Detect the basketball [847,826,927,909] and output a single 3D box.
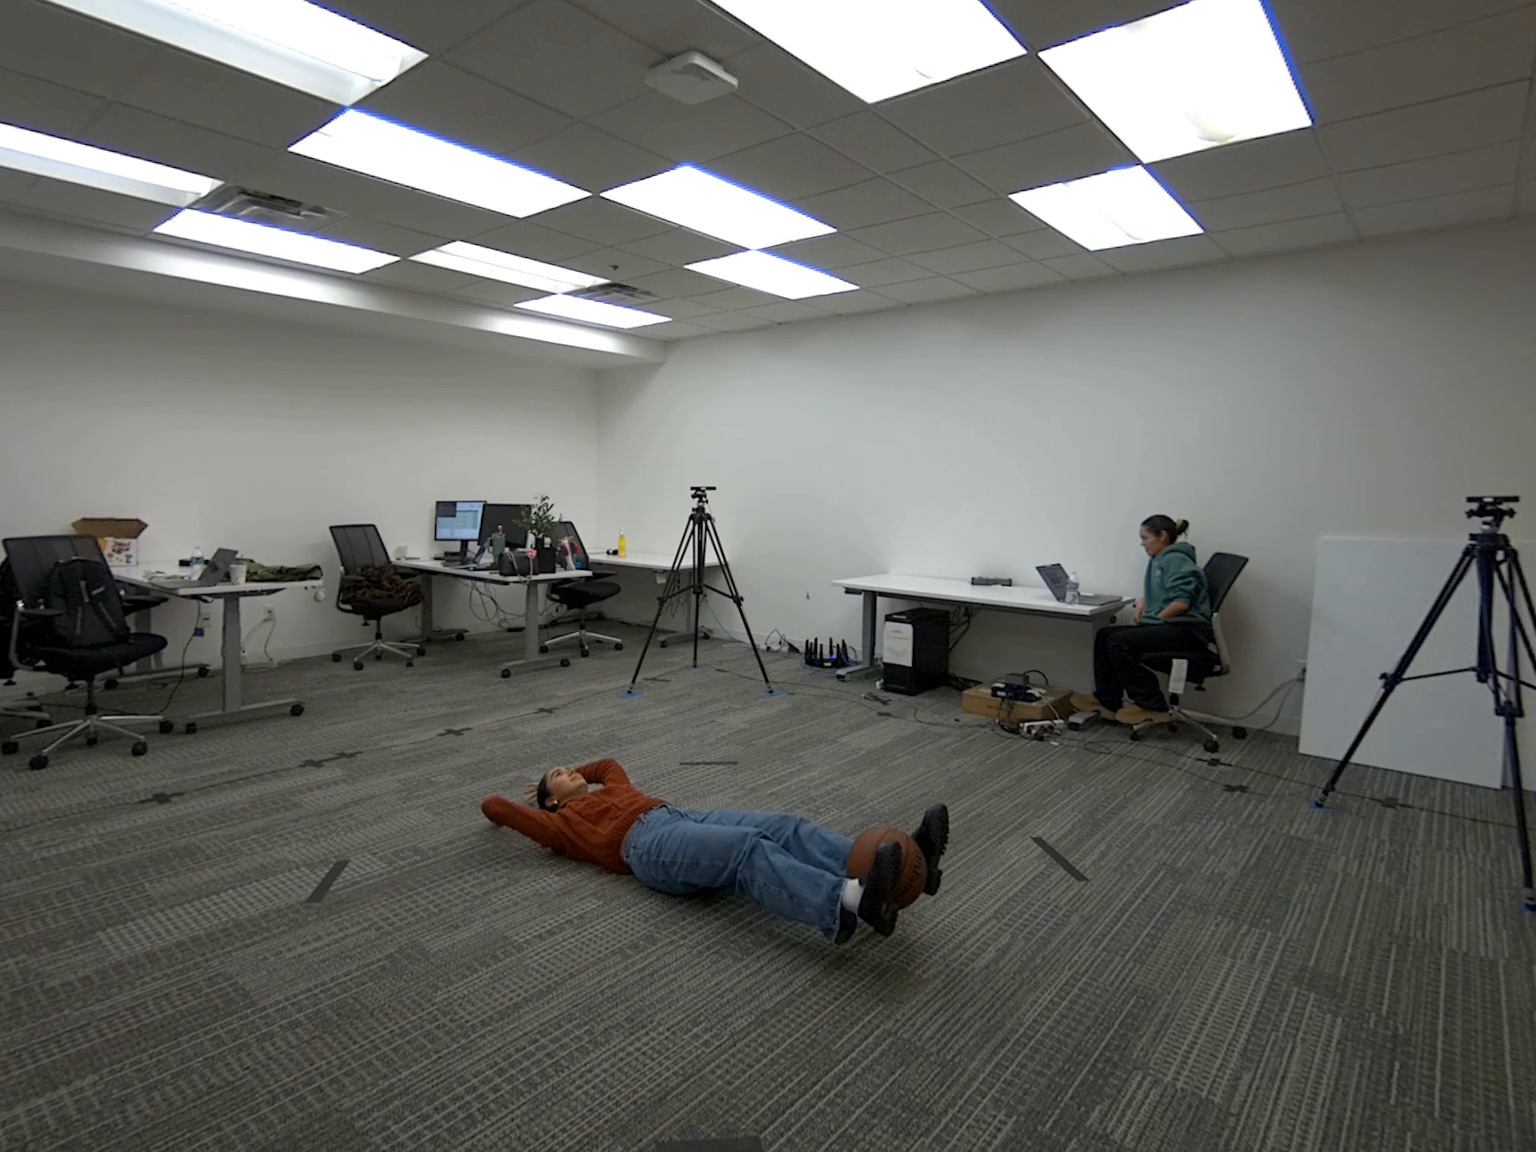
[{"bbox_3d":[0.354,0.877,2.552,0.236,0.235,0.237,-3,3,-2],"label":"basketball"}]
